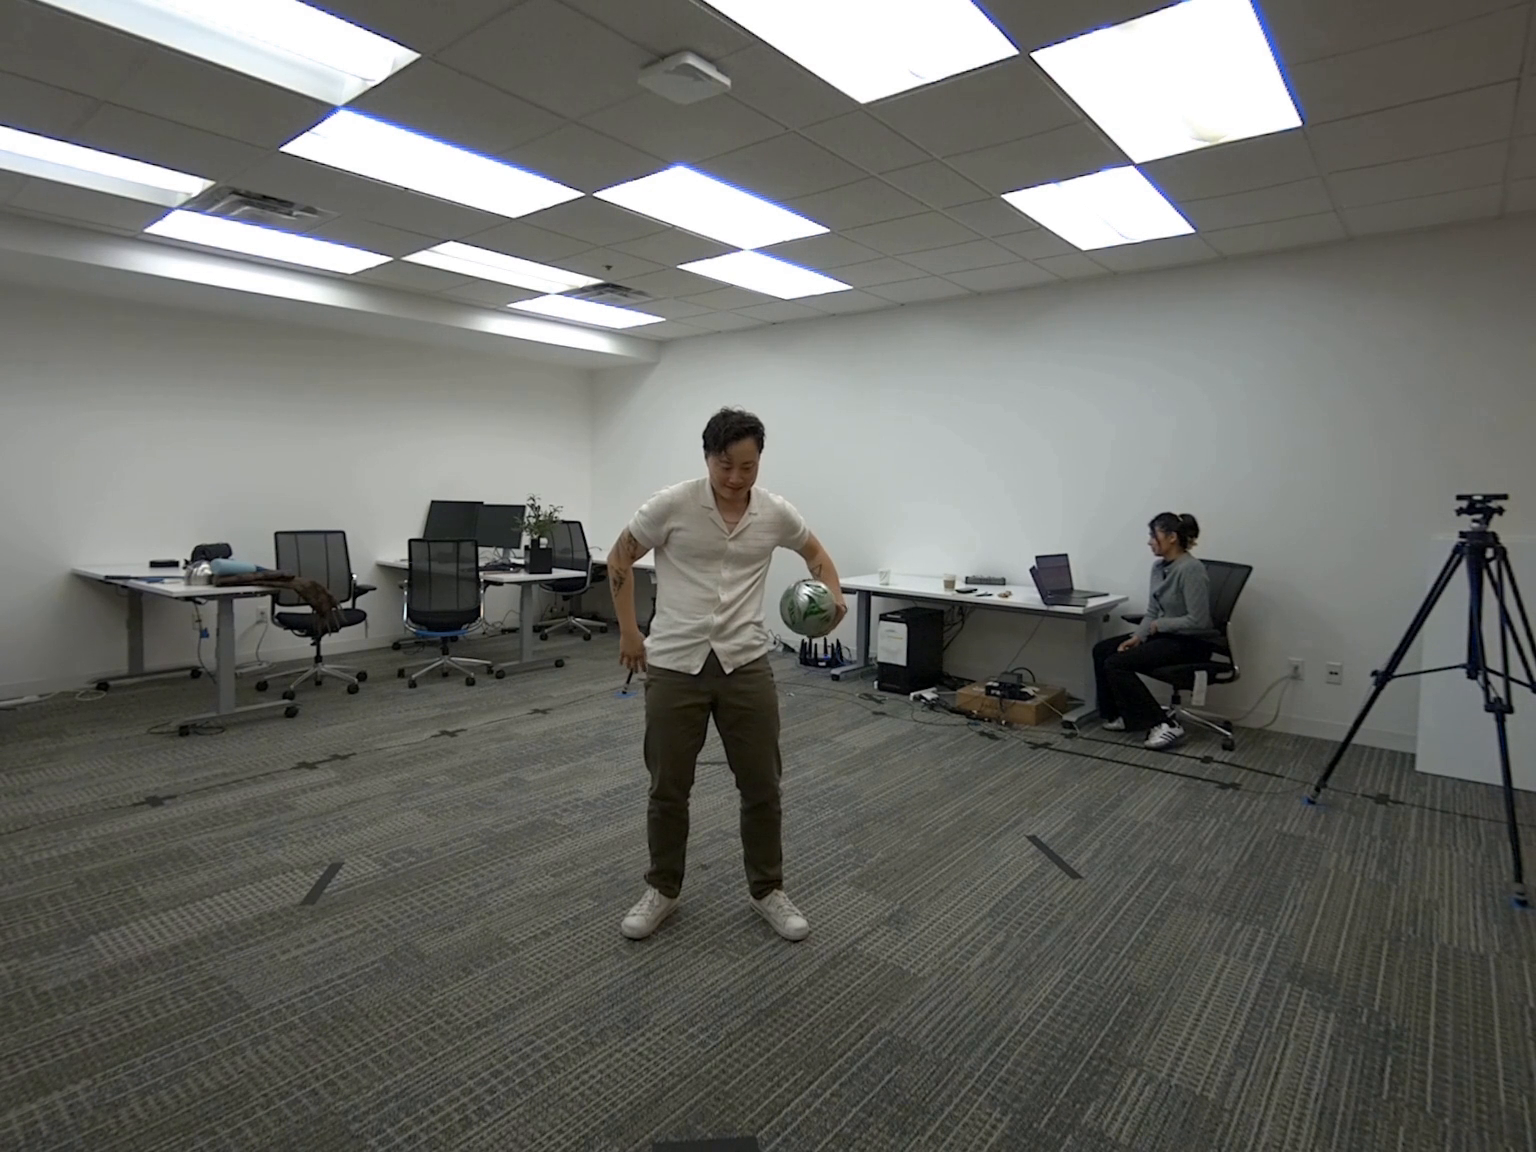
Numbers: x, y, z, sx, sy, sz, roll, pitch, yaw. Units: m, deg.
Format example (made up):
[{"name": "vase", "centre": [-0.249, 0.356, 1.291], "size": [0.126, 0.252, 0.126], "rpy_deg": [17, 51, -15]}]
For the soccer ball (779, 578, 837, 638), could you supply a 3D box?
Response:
[{"name": "soccer ball", "centre": [0.124, 0.106, 2.796], "size": [0.187, 0.187, 0.188], "rpy_deg": [1, 4, -2]}]
